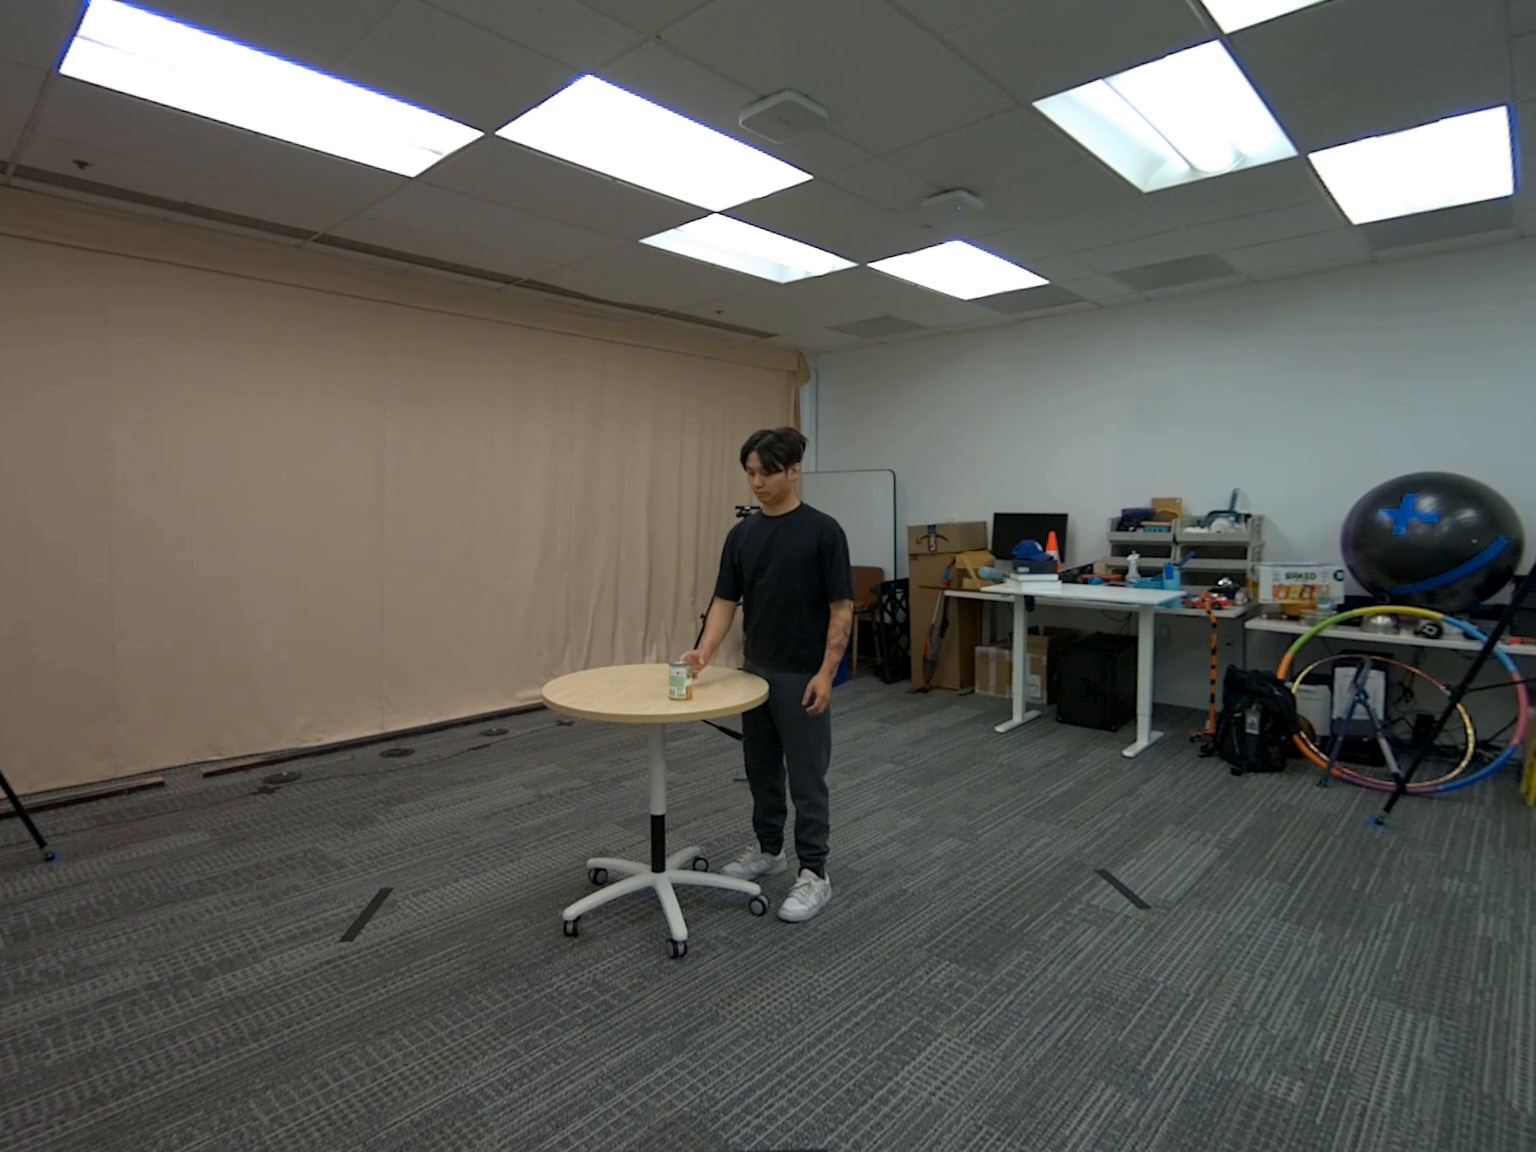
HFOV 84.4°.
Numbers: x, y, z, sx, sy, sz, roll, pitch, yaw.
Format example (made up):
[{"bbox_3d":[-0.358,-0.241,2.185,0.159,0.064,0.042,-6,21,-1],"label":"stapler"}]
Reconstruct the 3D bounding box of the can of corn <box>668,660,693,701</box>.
[{"bbox_3d":[-0.278,0.334,2.686,0.074,0.111,0.074,-3,3,-2],"label":"can of corn"}]
